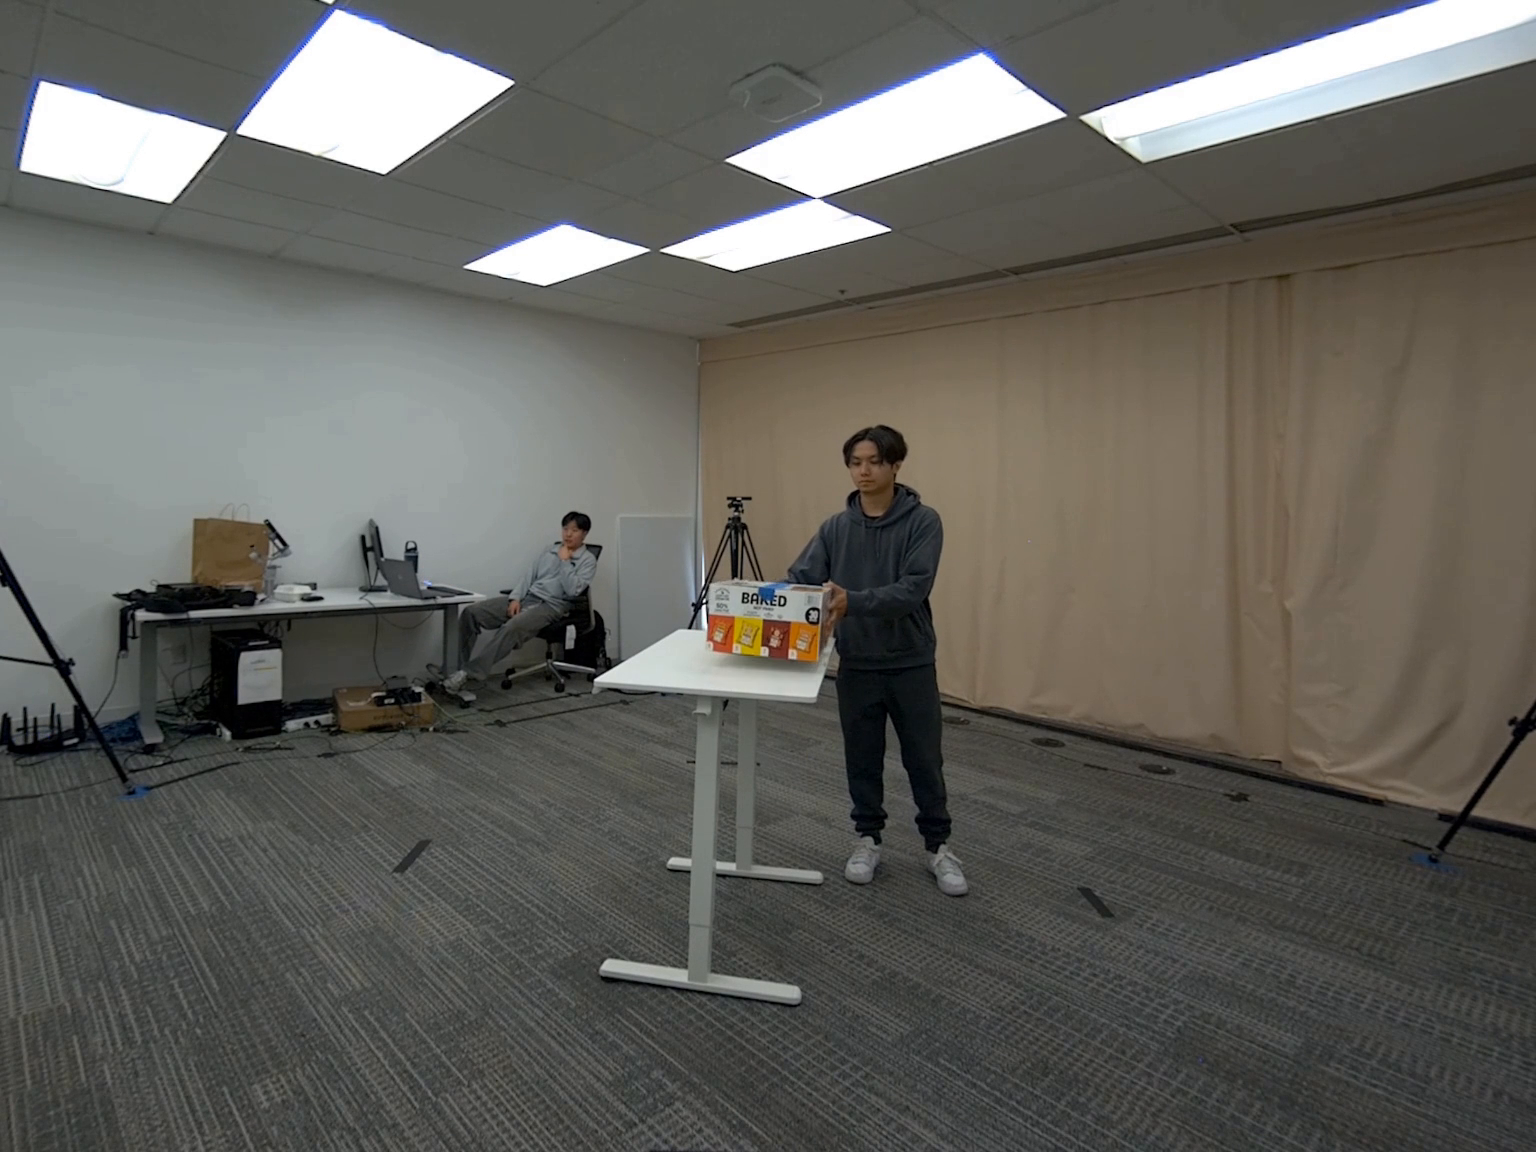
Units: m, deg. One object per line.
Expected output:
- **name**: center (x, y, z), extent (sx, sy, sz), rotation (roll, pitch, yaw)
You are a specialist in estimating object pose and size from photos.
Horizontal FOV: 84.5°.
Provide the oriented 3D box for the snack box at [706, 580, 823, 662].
- **snack box**: center (0.012, 0.135, 2.668), extent (0.343, 0.205, 0.402), rotation (5, 2, 10)
